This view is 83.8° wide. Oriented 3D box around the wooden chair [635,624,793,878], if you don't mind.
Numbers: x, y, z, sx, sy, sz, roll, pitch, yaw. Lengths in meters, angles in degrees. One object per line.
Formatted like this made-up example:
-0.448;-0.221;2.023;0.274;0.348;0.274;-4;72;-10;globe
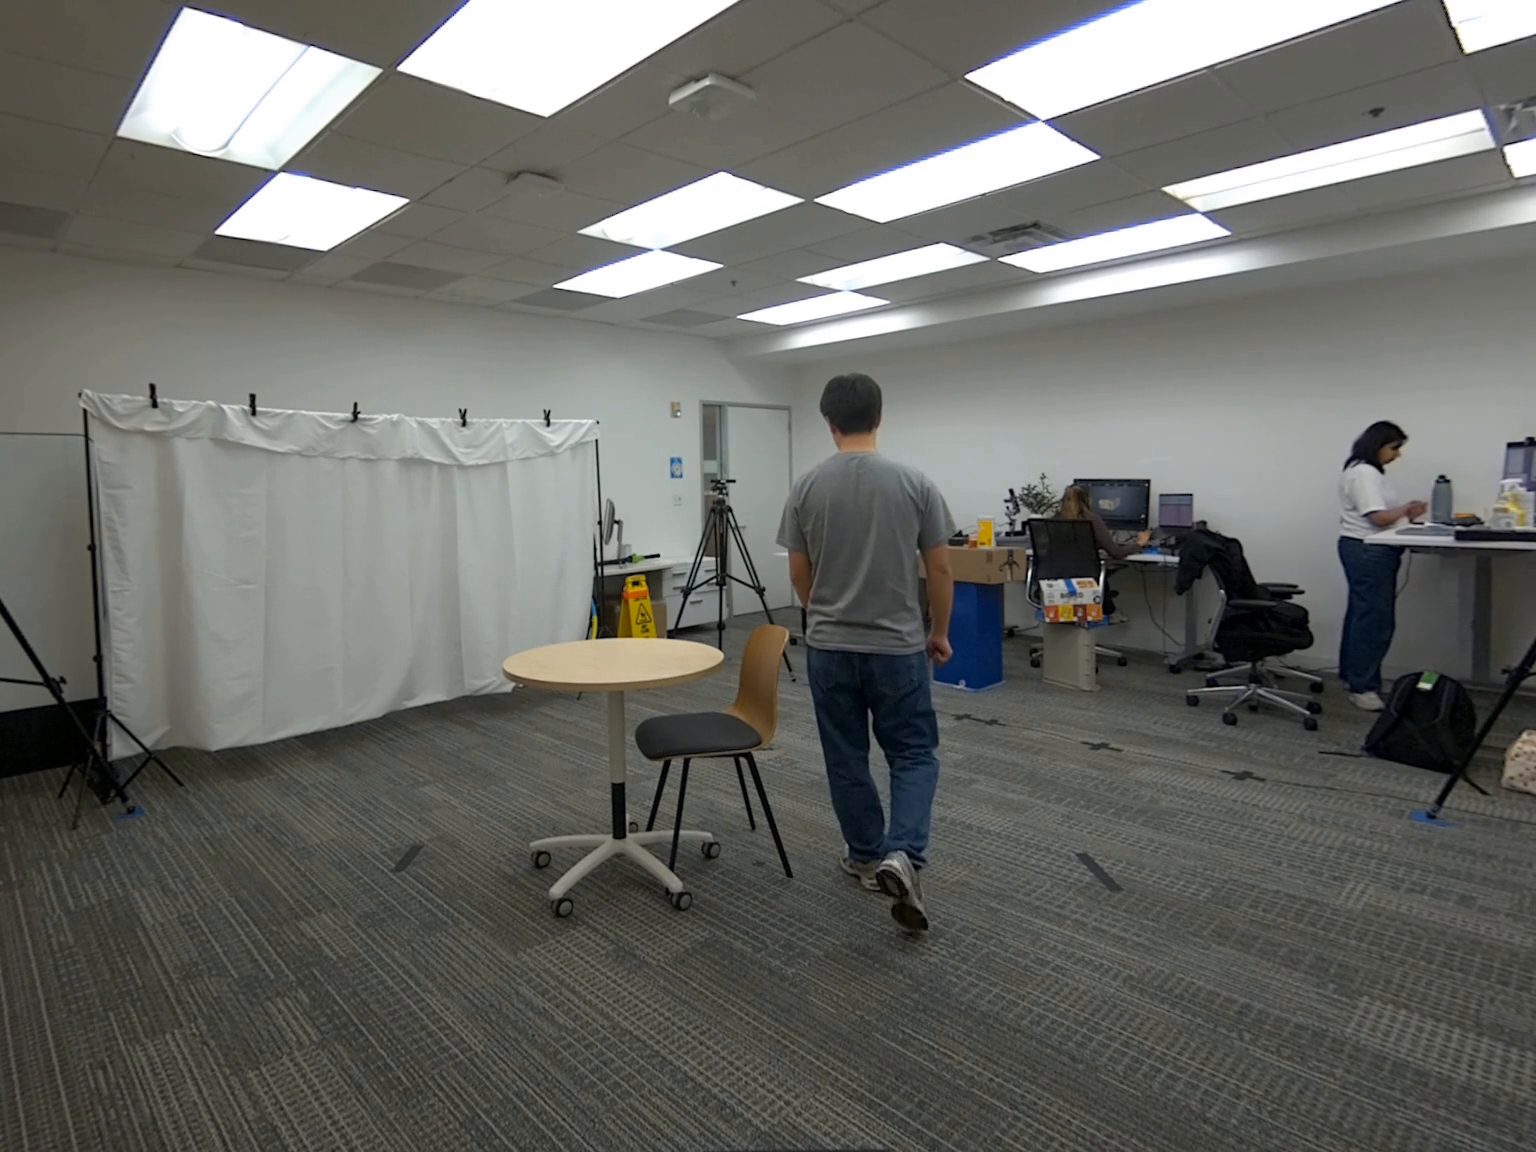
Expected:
-0.206;0.620;3.114;0.514;0.875;0.487;2;3;-18;wooden chair
